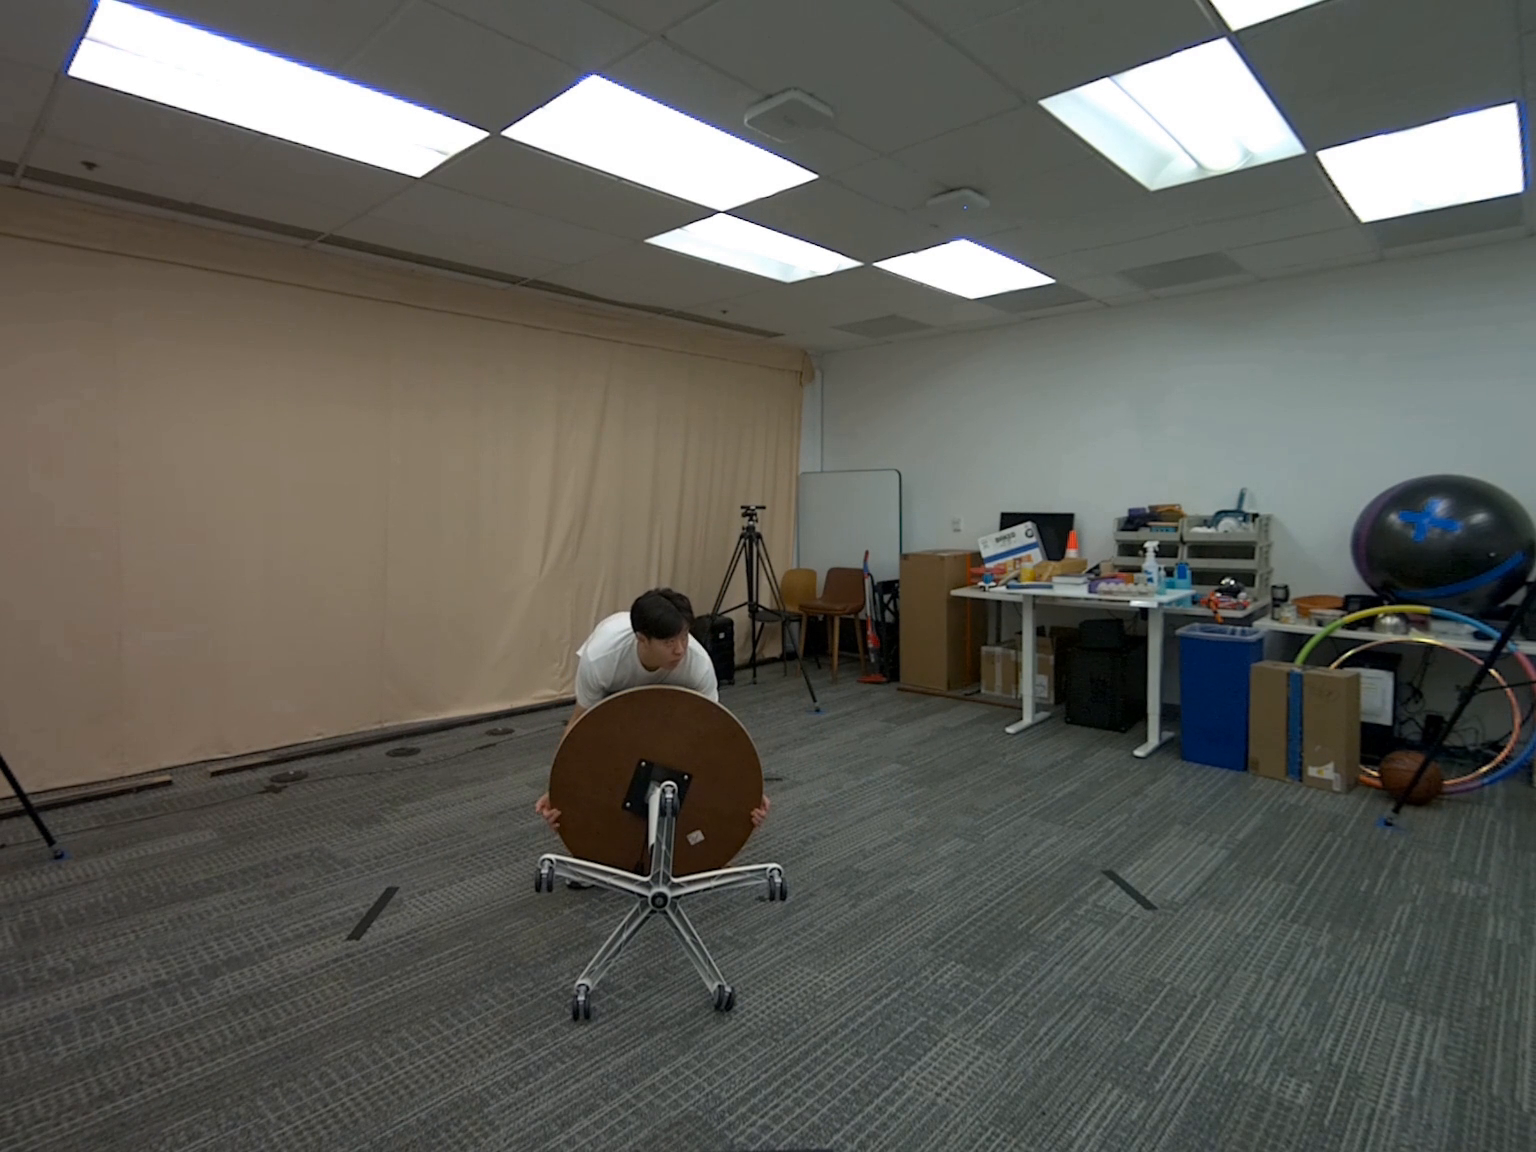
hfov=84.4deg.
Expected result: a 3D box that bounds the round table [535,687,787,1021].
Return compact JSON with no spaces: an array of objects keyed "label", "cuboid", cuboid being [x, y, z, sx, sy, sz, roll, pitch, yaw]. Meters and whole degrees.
[{"label":"round table","cuboid":[-0.335,0.826,2.631,0.780,0.780,0.797,0,10,-7]}]
